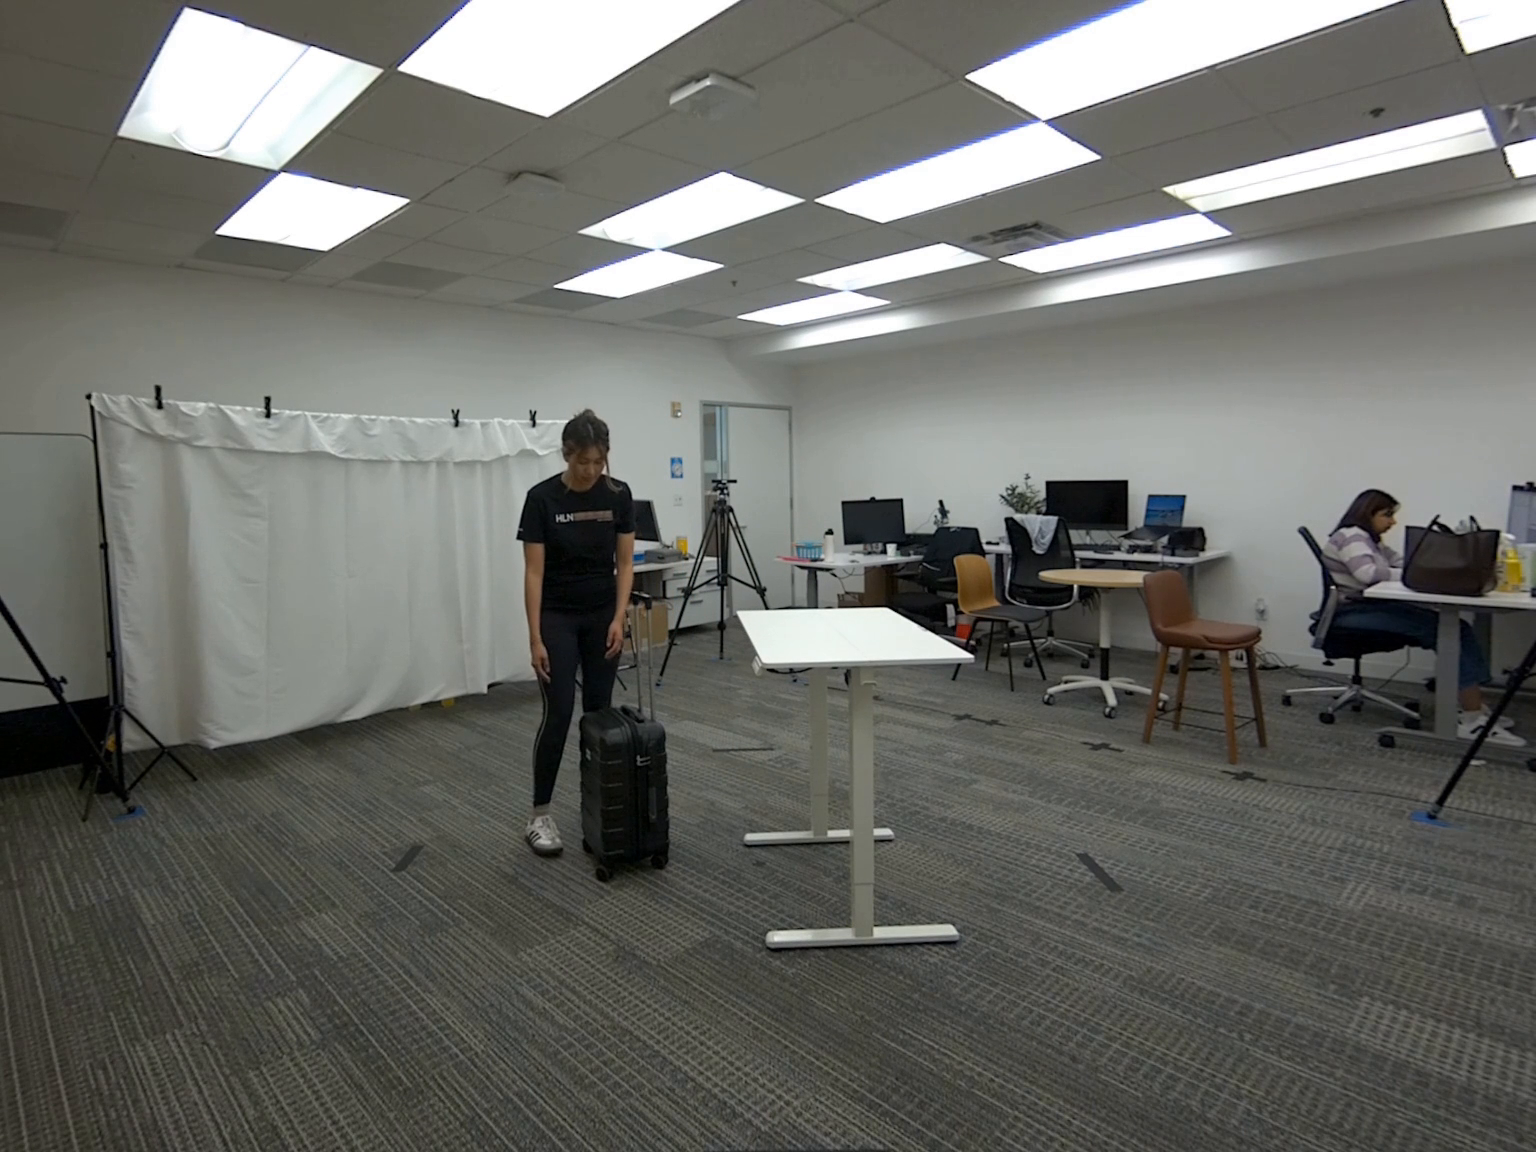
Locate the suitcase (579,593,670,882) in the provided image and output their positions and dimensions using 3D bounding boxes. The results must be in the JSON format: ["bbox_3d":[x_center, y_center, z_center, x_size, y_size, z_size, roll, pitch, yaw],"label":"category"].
[{"bbox_3d":[-0.542,0.577,3.137,0.252,0.975,0.393,-4,4,-23],"label":"suitcase"}]
